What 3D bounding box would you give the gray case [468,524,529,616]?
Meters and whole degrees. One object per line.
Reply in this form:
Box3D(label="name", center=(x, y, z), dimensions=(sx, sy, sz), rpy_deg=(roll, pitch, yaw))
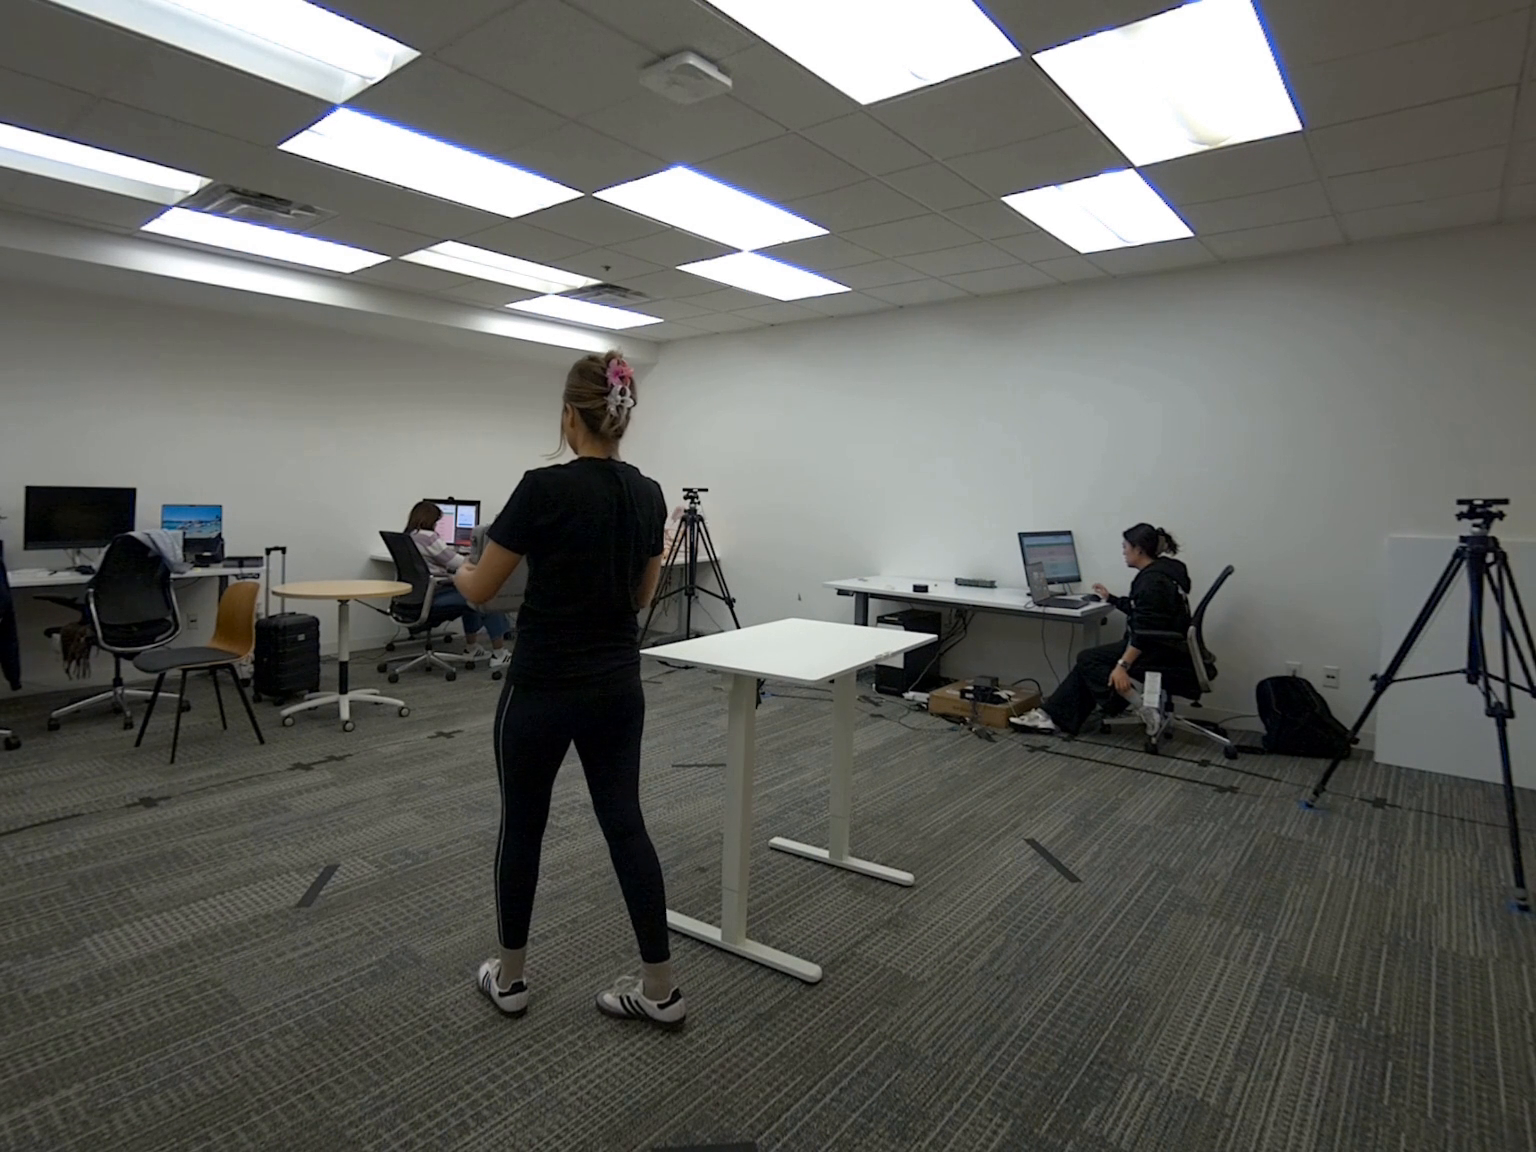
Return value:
Box3D(label="gray case", center=(-0.764, -0.033, 2.494), dimensions=(0.108, 0.259, 0.249), rpy_deg=(10, 7, 42))
